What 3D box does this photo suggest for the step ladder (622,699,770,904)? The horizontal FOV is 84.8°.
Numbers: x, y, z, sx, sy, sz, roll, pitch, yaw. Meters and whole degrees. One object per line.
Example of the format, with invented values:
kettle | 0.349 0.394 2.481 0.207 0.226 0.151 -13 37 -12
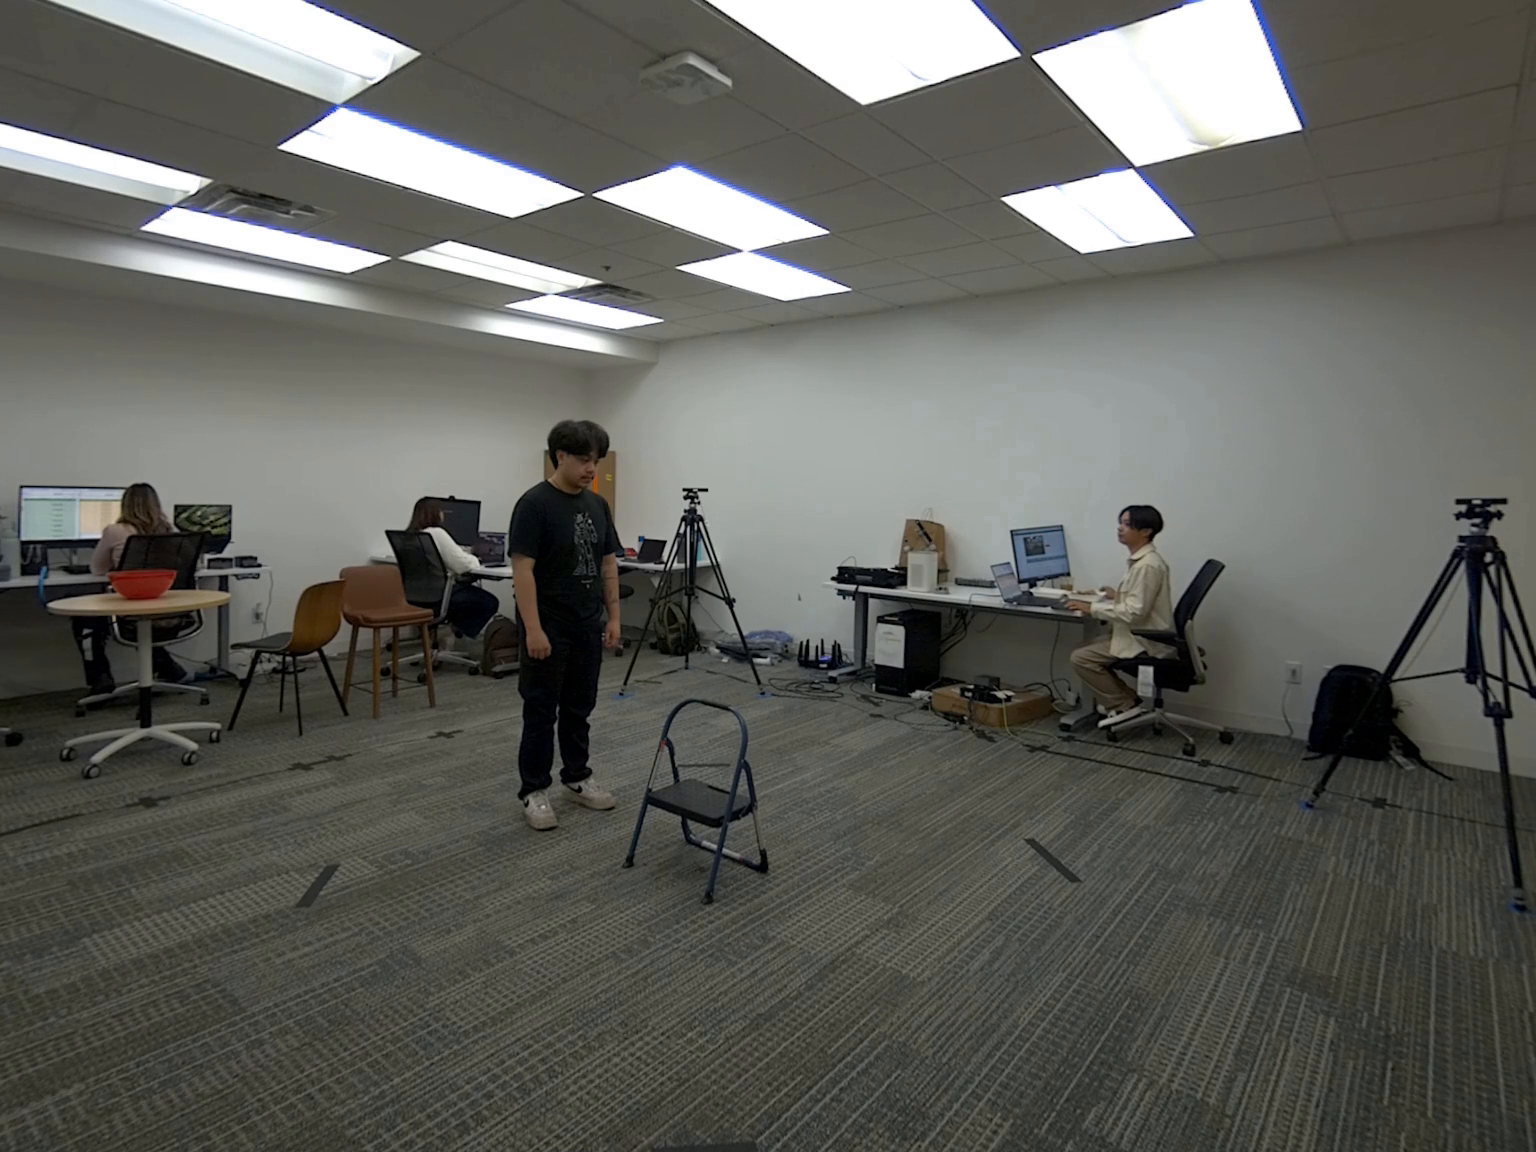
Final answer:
step ladder | -0.265 0.765 3.094 0.445 0.604 0.339 4 5 39
